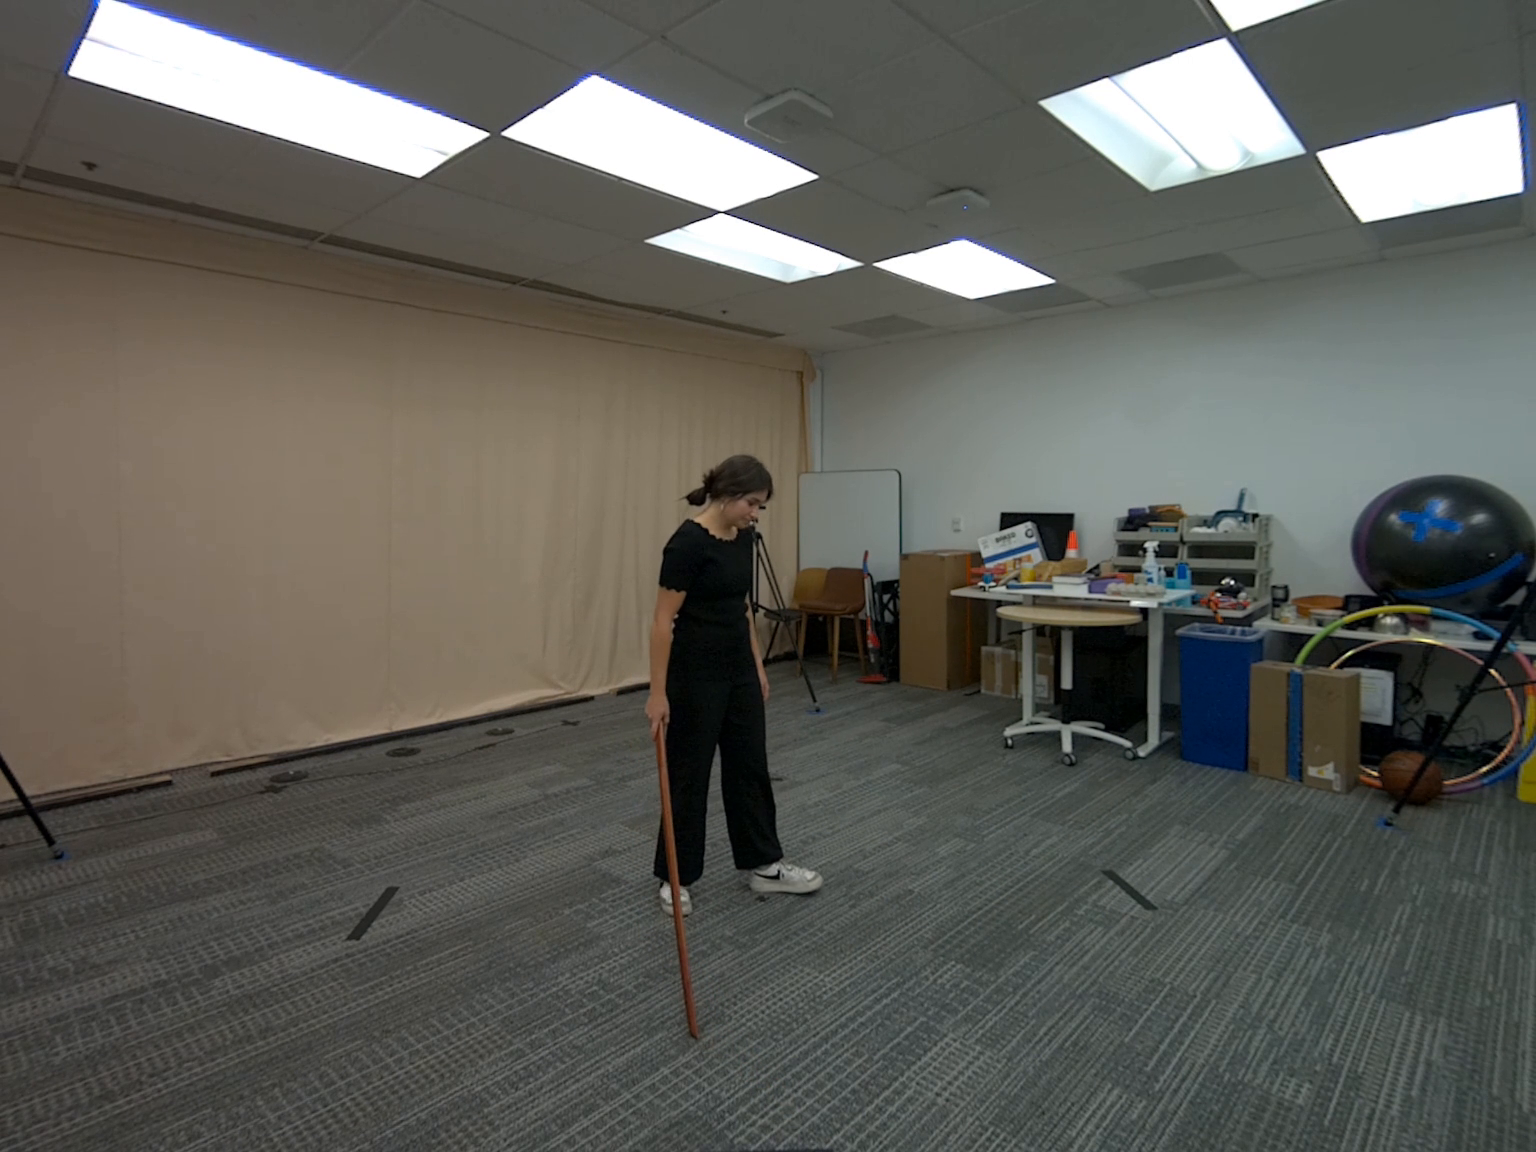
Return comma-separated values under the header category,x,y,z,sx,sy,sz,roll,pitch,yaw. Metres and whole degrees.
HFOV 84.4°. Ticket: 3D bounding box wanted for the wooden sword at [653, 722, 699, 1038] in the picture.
category,x,y,z,sx,sy,sz,roll,pitch,yaw
wooden sword,-0.276,0.799,2.523,0.024,1.050,0.049,-34,-40,24
